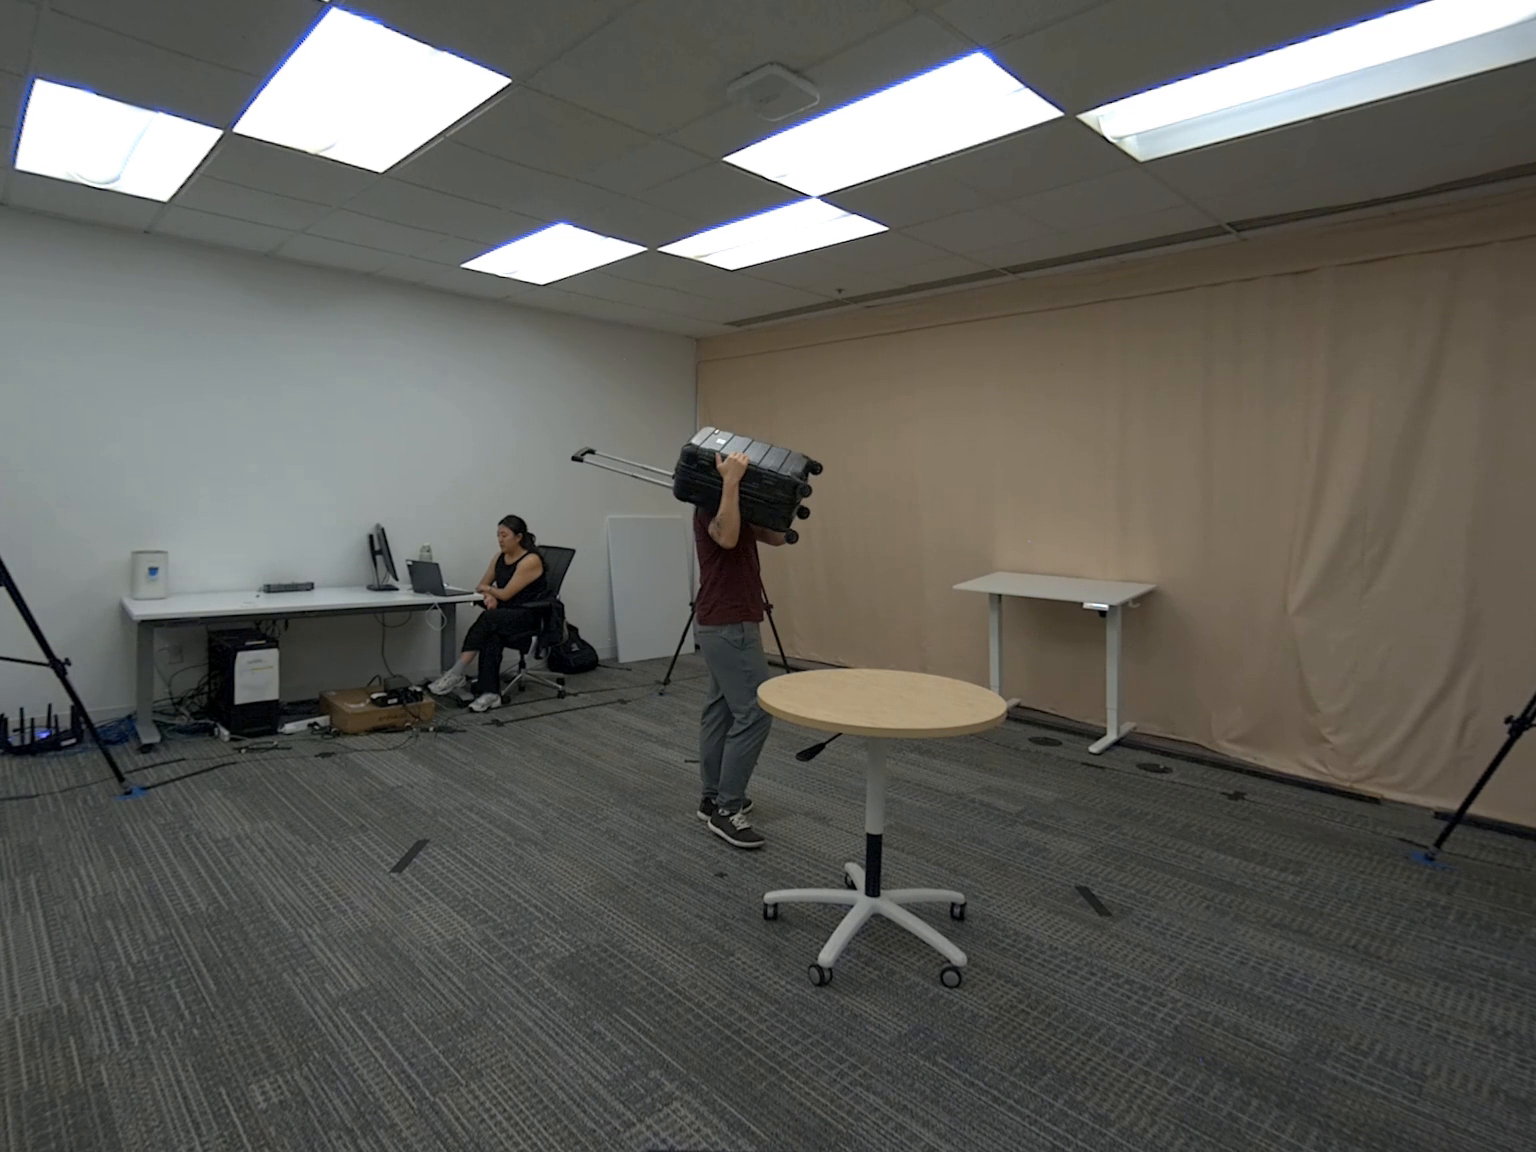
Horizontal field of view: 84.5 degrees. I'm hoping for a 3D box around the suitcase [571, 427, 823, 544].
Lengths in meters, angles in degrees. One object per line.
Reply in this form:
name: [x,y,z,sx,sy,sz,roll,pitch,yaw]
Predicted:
suitcase: [-0.287,-0.458,3.383,0.985,0.254,0.386,19,26,6]
